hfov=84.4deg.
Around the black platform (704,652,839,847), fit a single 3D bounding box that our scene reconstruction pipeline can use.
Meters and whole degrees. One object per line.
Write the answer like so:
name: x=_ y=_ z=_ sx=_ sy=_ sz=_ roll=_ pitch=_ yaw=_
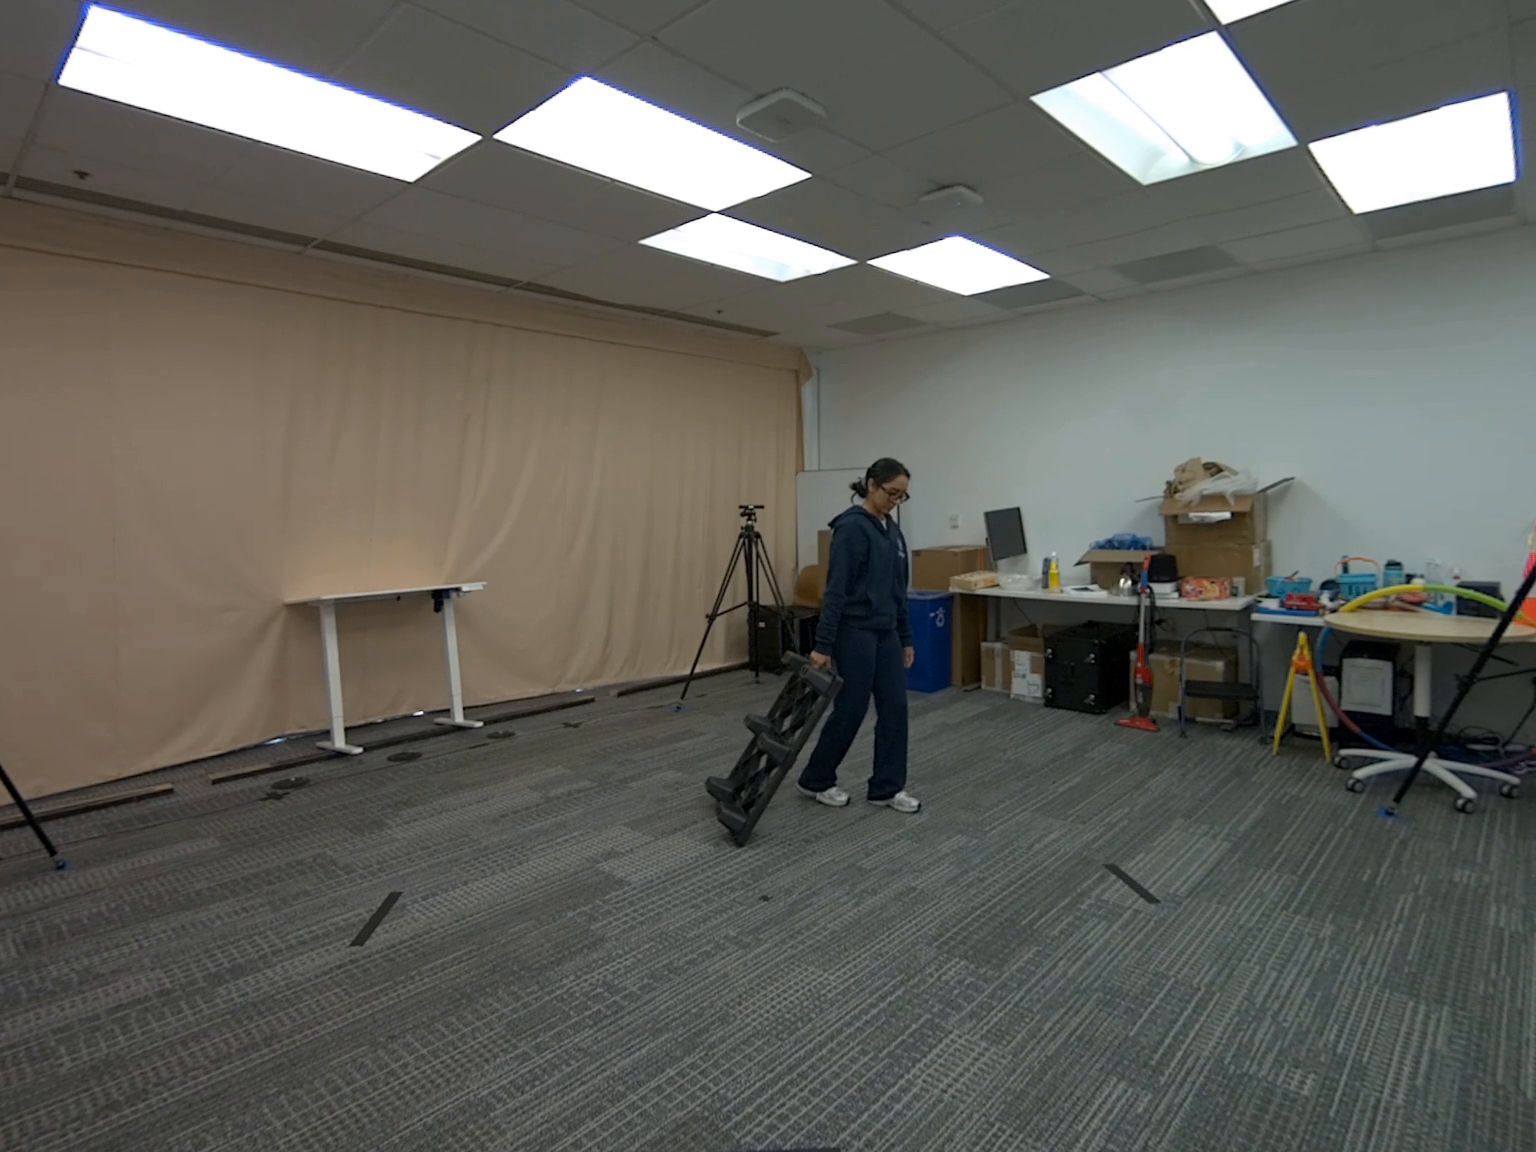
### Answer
black platform: x=-0.001 y=0.713 z=3.710 sx=0.142 sy=0.805 sz=0.612 roll=32 pitch=-2 yaw=-10
